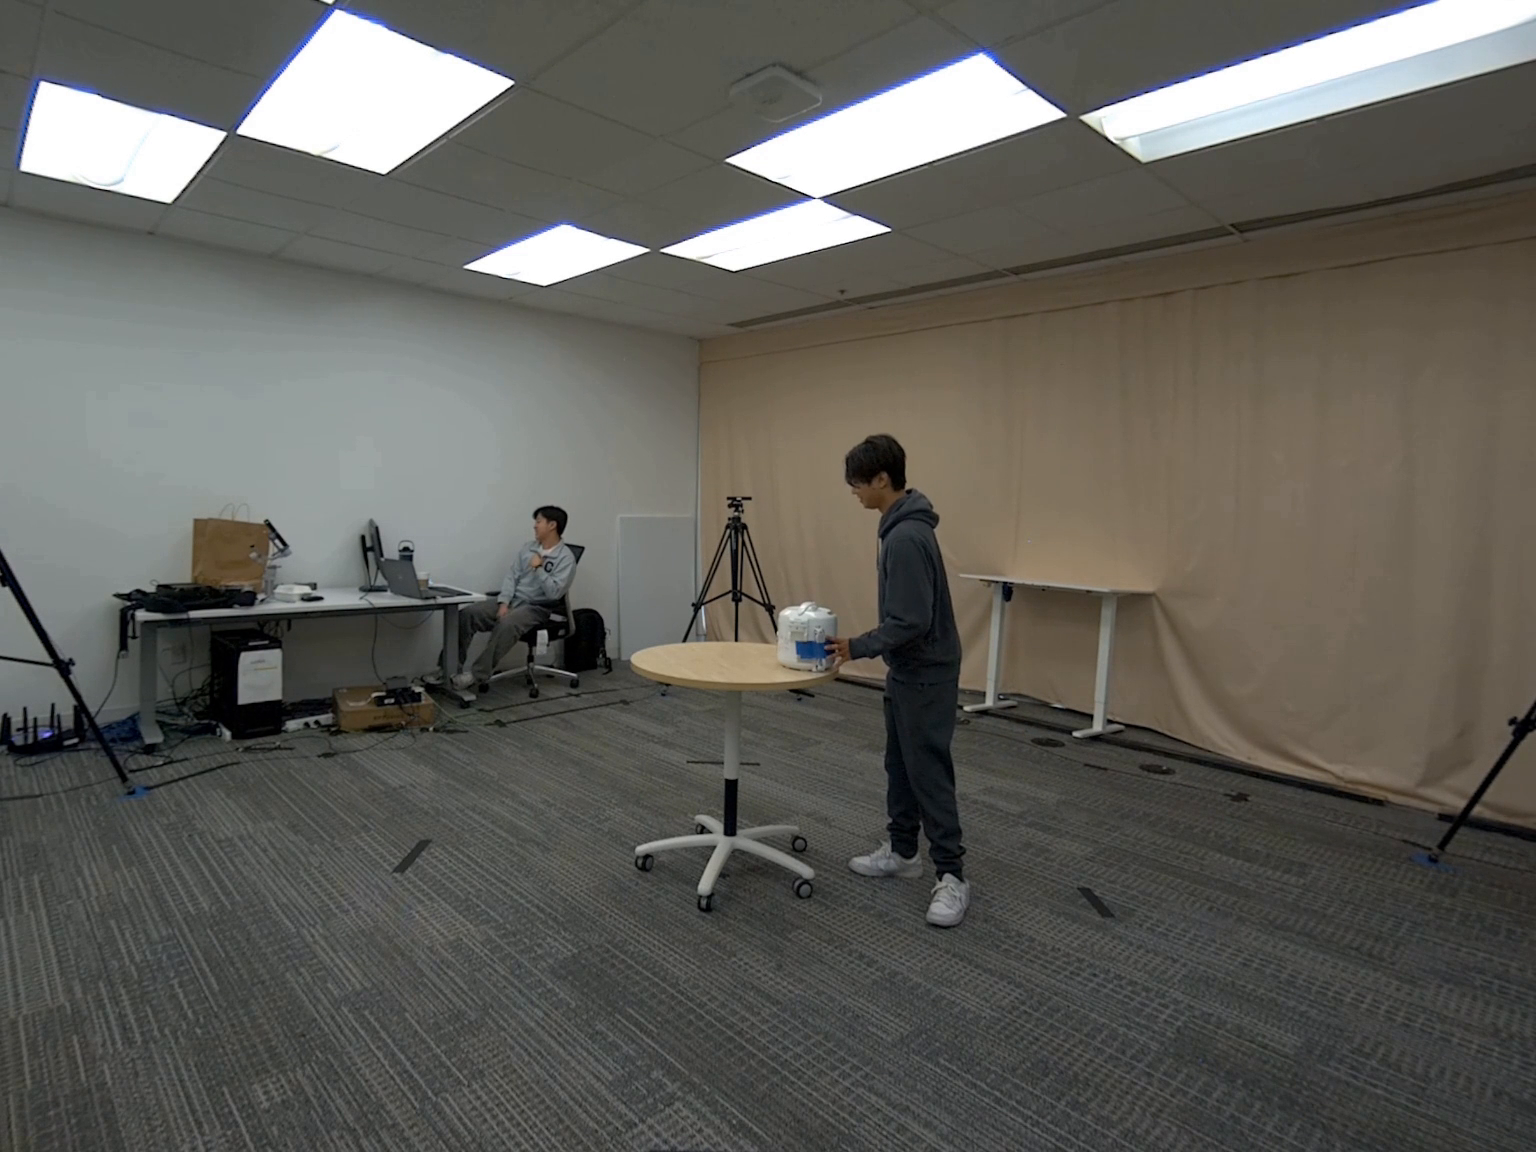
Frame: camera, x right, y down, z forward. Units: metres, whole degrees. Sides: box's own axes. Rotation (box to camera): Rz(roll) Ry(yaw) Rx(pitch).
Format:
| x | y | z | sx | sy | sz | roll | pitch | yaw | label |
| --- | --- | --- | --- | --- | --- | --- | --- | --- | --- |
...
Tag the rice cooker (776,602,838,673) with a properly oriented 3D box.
| x | y | z | sx | sy | sz | roll | pitch | yaw | label |
| --- | --- | --- | --- | --- | --- | --- | --- | --- | --- |
| 0.137 | 0.208 | 3.015 | 0.221 | 0.232 | 0.217 | 4 | 4 | 24 | rice cooker |
